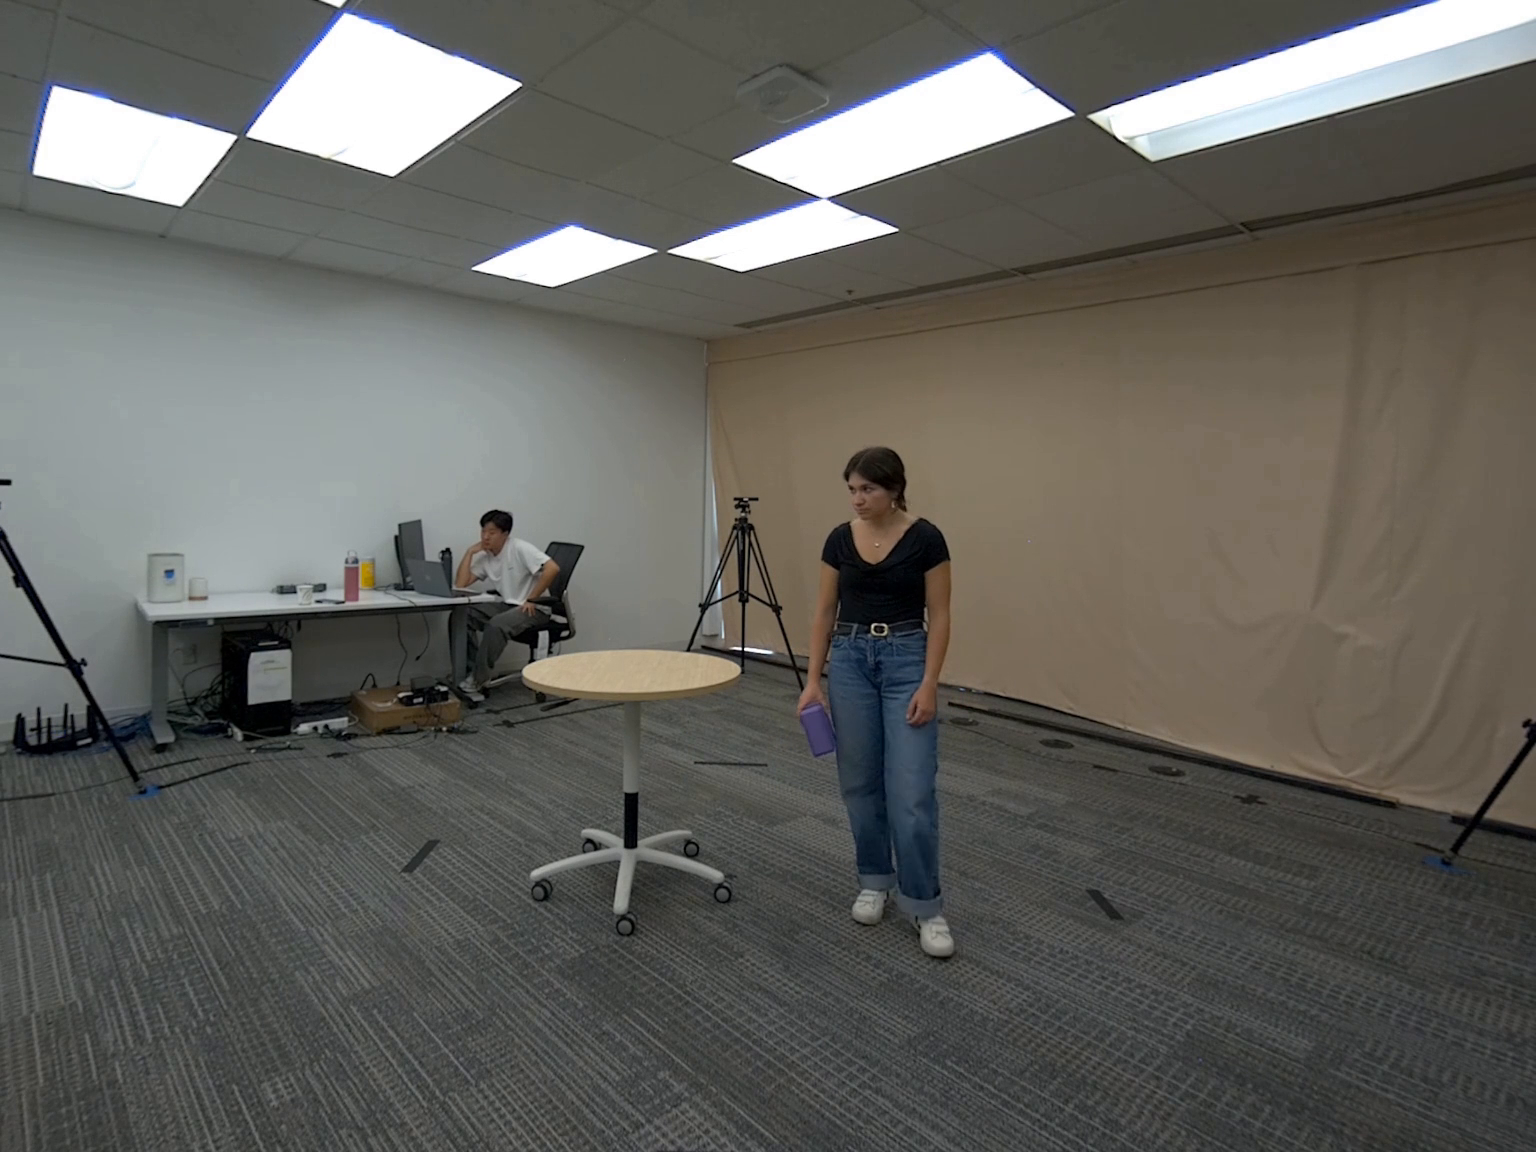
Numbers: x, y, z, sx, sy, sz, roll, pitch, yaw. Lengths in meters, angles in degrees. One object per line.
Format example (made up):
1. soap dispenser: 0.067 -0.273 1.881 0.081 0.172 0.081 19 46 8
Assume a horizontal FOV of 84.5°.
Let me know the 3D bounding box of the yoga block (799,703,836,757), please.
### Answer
1. yoga block: 0.160 0.501 2.813 0.076 0.150 0.228 -19 -3 2
